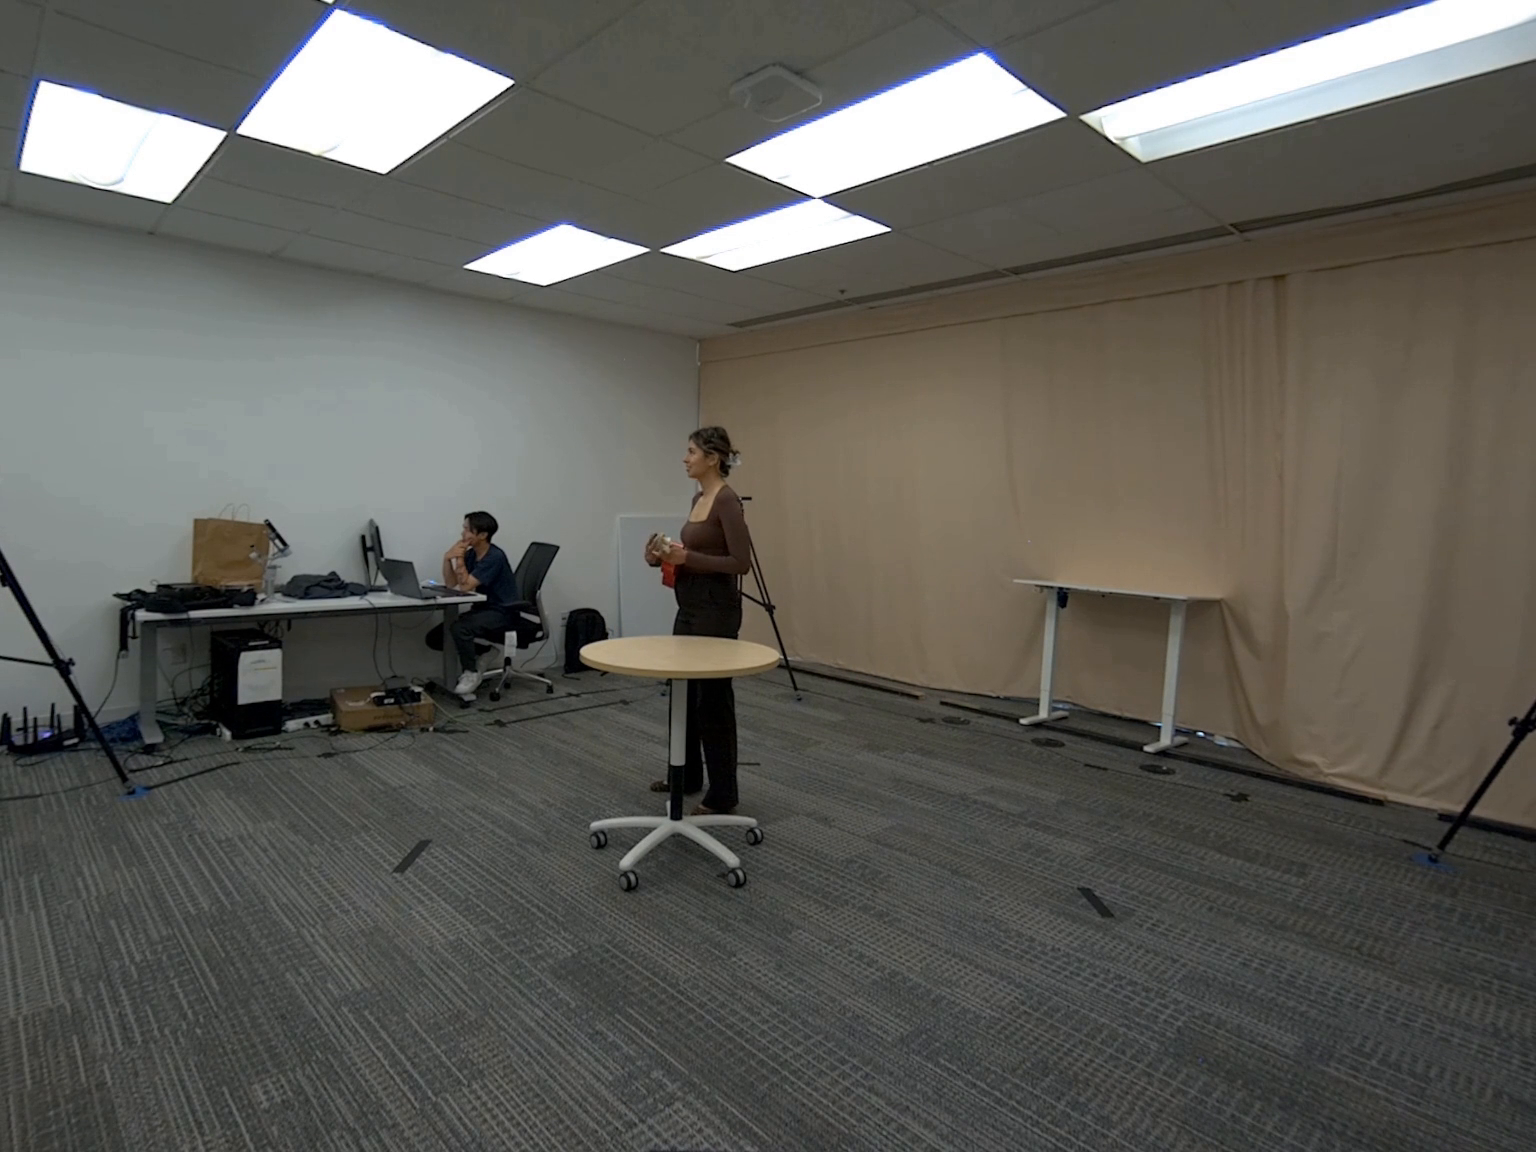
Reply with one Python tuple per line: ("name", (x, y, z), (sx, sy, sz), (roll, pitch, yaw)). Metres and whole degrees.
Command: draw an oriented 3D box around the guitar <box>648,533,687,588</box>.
("guitar", (-0.447, -0.054, 3.659), (0.071, 0.193, 0.494), (16, -3, 4))
